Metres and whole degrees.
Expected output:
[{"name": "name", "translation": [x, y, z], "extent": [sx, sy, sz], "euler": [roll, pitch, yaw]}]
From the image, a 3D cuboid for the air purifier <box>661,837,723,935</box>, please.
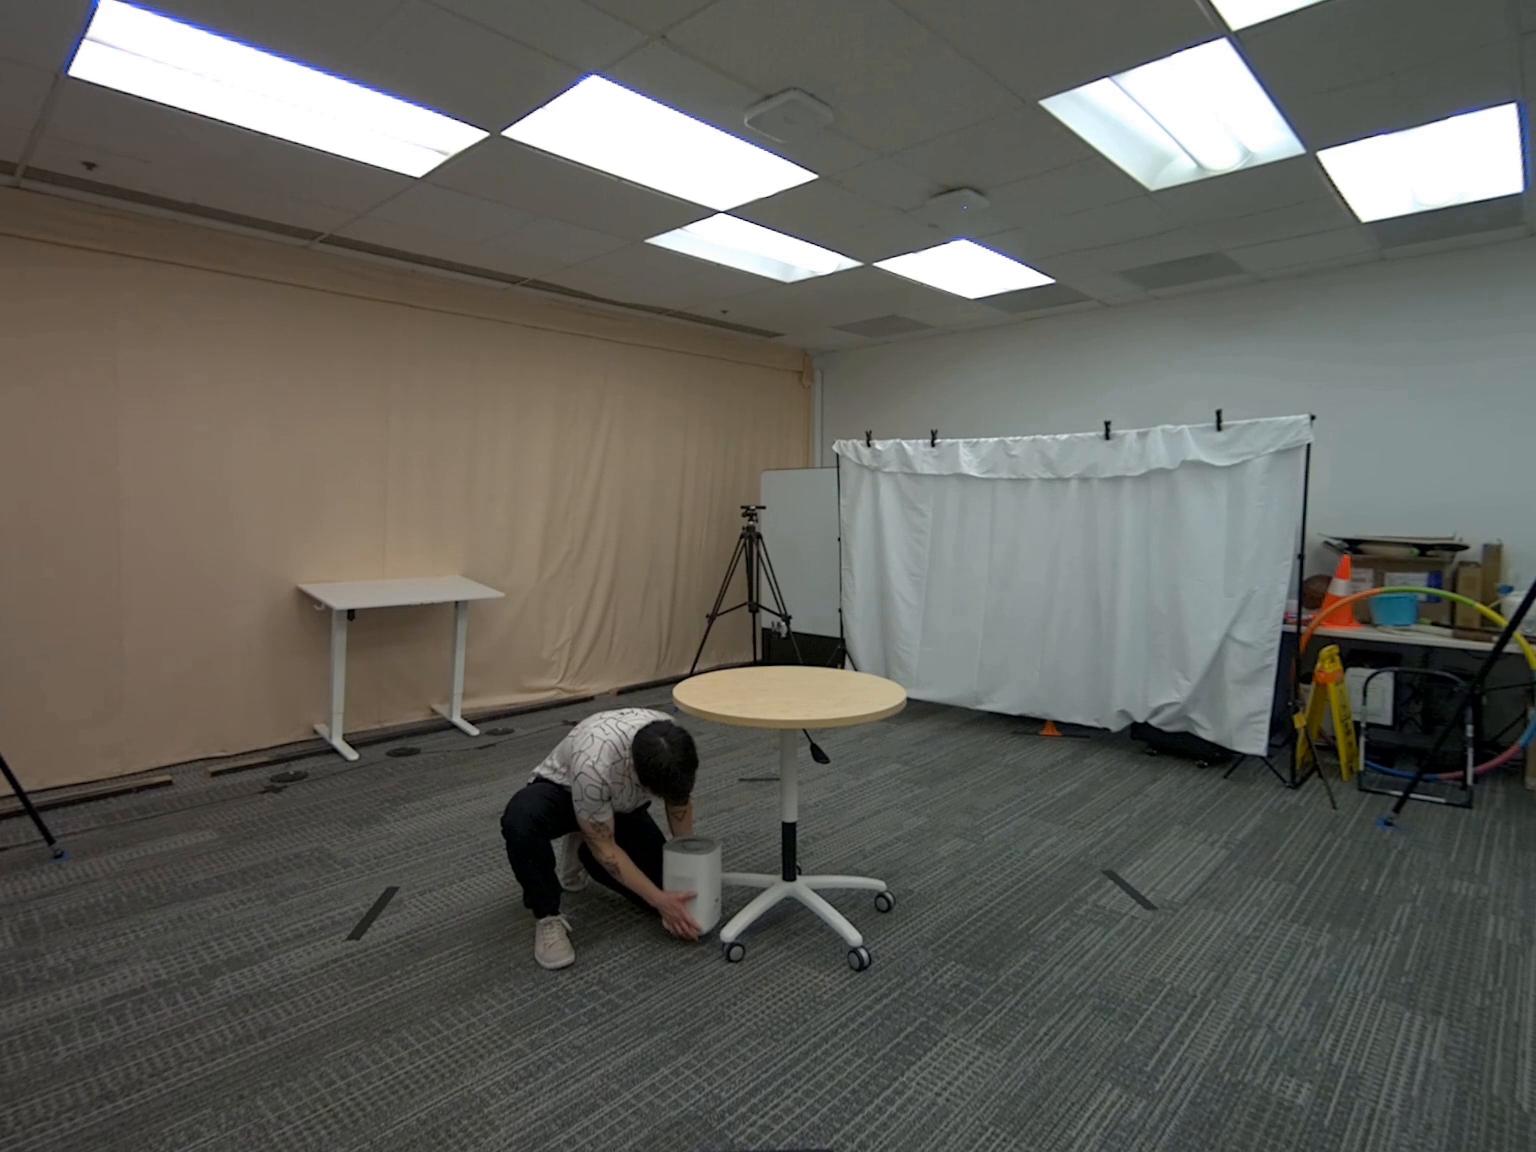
[{"name": "air purifier", "translation": [-0.241, 1.003, 2.717], "extent": [0.175, 0.266, 0.167], "euler": [-1, -3, 18]}]
